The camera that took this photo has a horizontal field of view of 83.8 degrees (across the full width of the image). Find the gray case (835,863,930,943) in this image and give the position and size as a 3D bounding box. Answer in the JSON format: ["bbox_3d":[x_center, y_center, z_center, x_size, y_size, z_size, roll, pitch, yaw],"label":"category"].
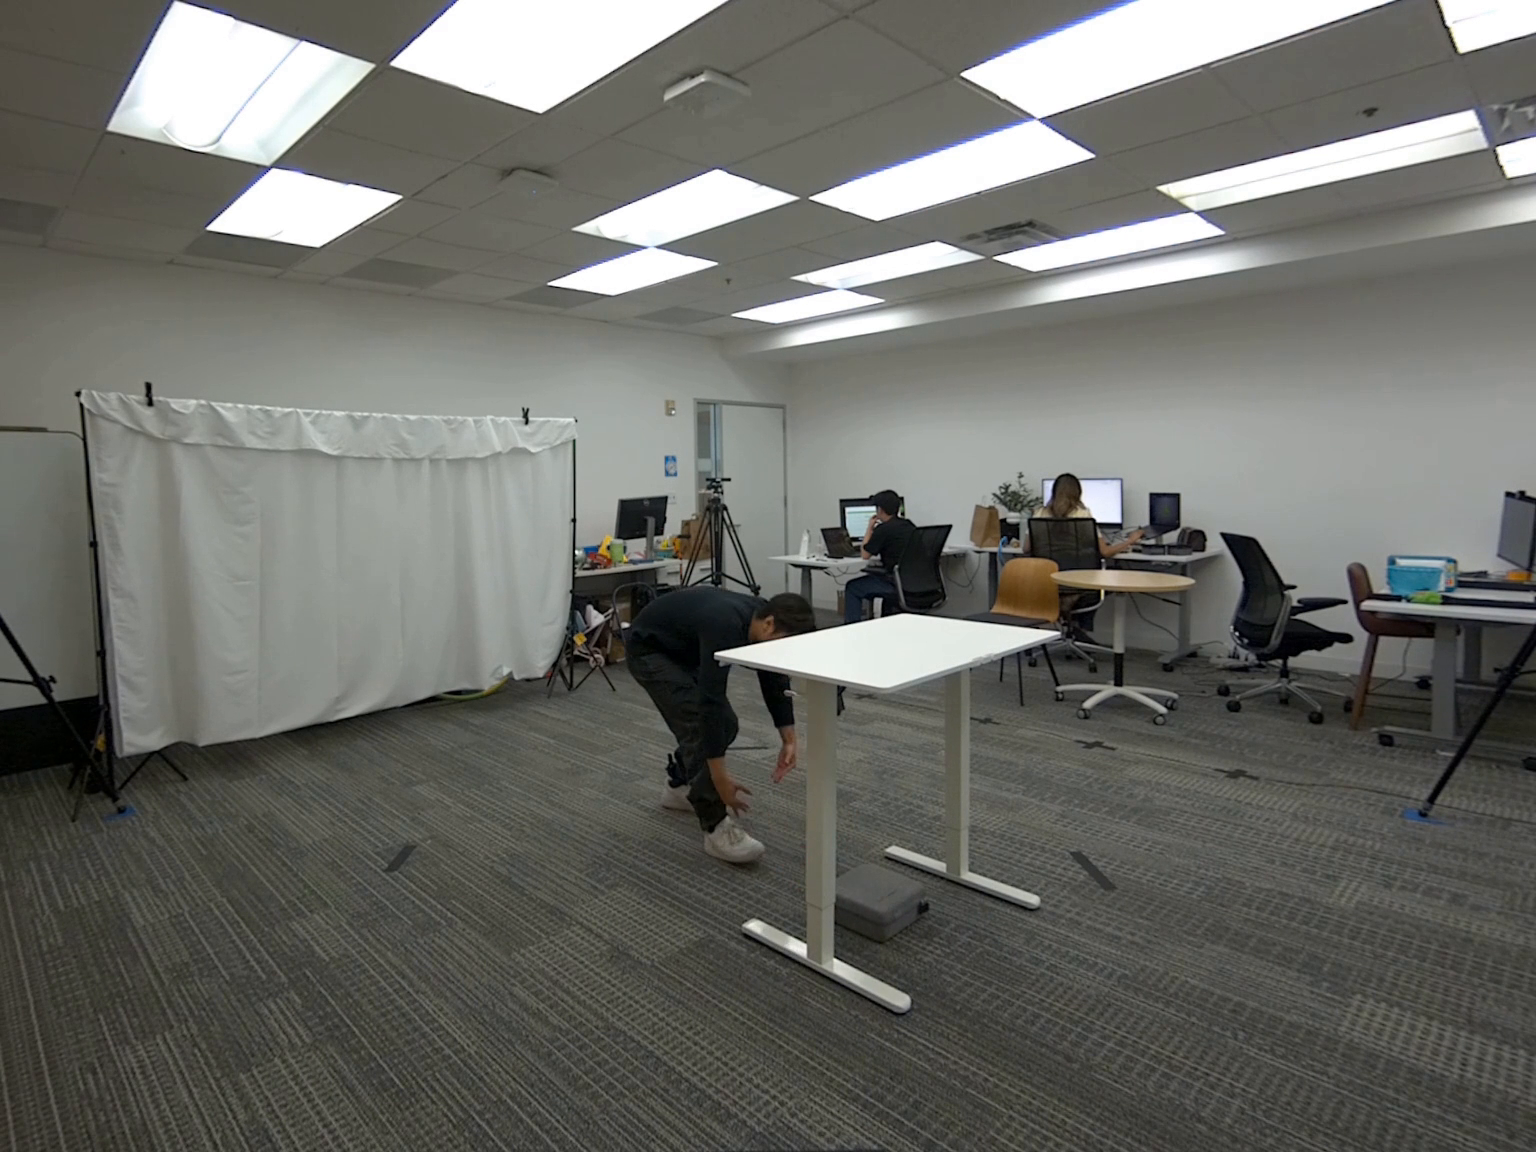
[{"bbox_3d":[0.338,1.021,2.701,0.265,0.104,0.254,5,8,44],"label":"gray case"}]
